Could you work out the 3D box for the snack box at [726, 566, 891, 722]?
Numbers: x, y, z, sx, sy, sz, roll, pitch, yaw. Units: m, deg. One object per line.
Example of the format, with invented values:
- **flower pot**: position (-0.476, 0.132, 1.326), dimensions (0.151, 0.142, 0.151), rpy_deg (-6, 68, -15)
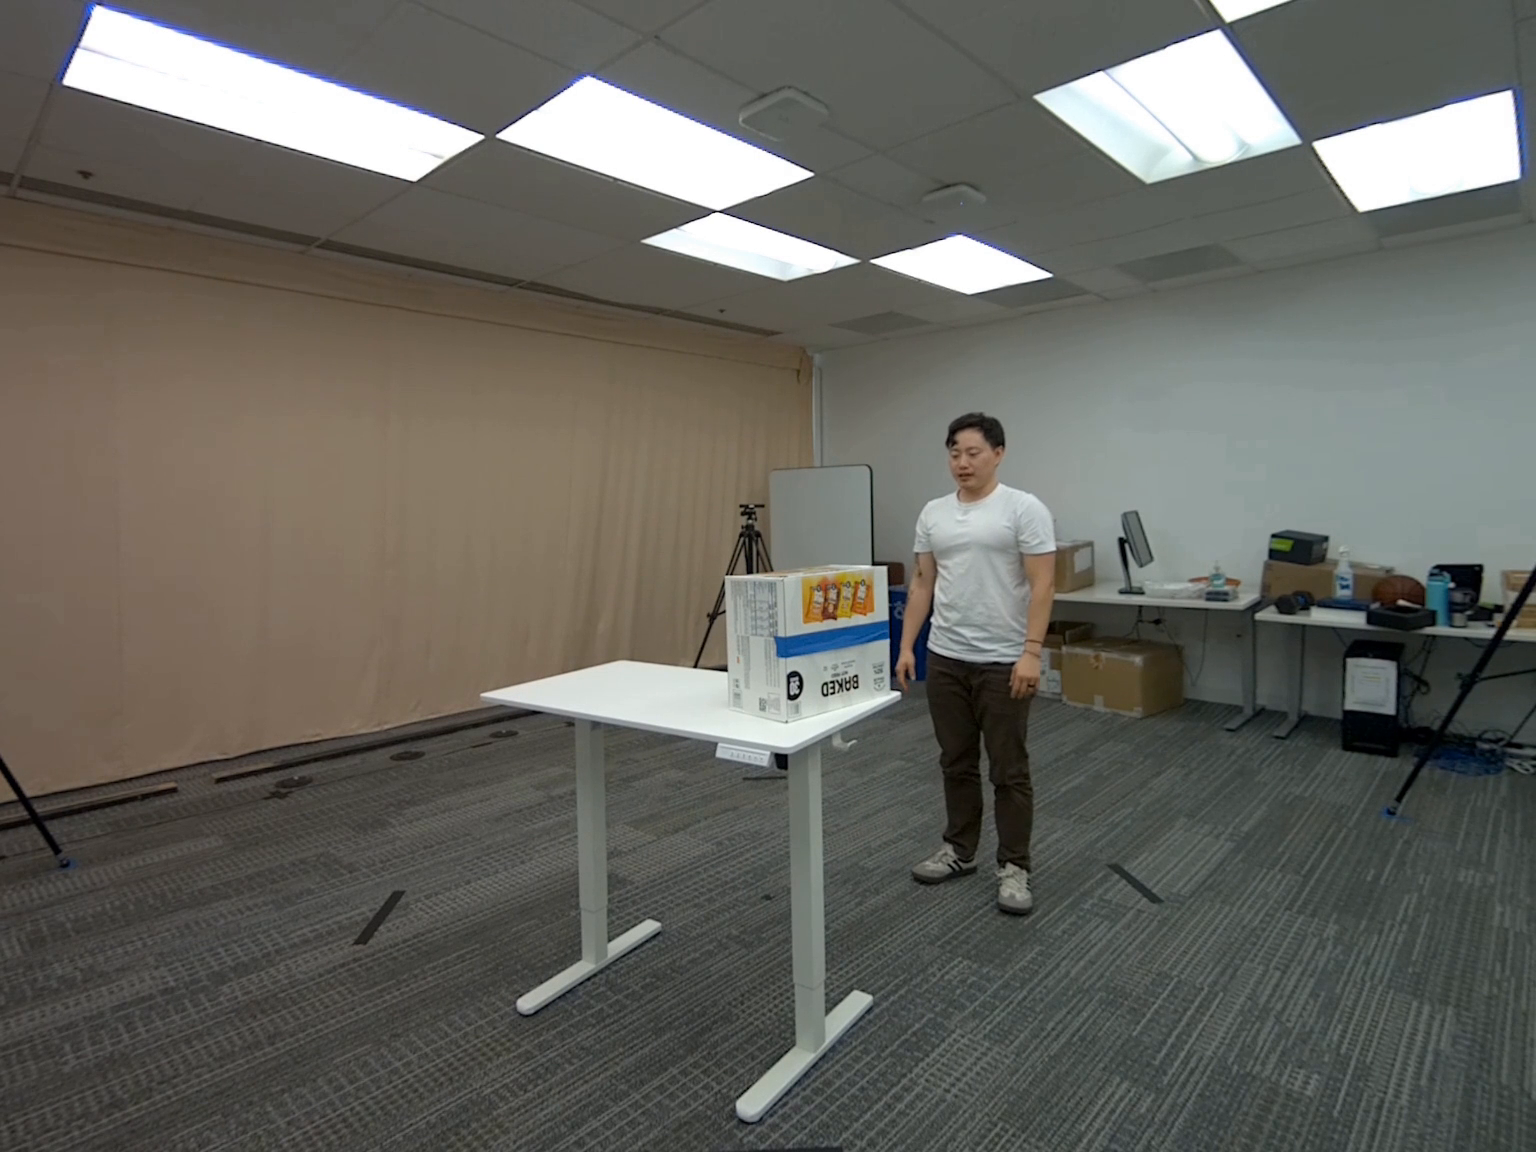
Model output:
- **snack box**: position (0.112, 0.156, 2.160), dimensions (0.393, 0.340, 0.212), rpy_deg (-5, 3, -43)
